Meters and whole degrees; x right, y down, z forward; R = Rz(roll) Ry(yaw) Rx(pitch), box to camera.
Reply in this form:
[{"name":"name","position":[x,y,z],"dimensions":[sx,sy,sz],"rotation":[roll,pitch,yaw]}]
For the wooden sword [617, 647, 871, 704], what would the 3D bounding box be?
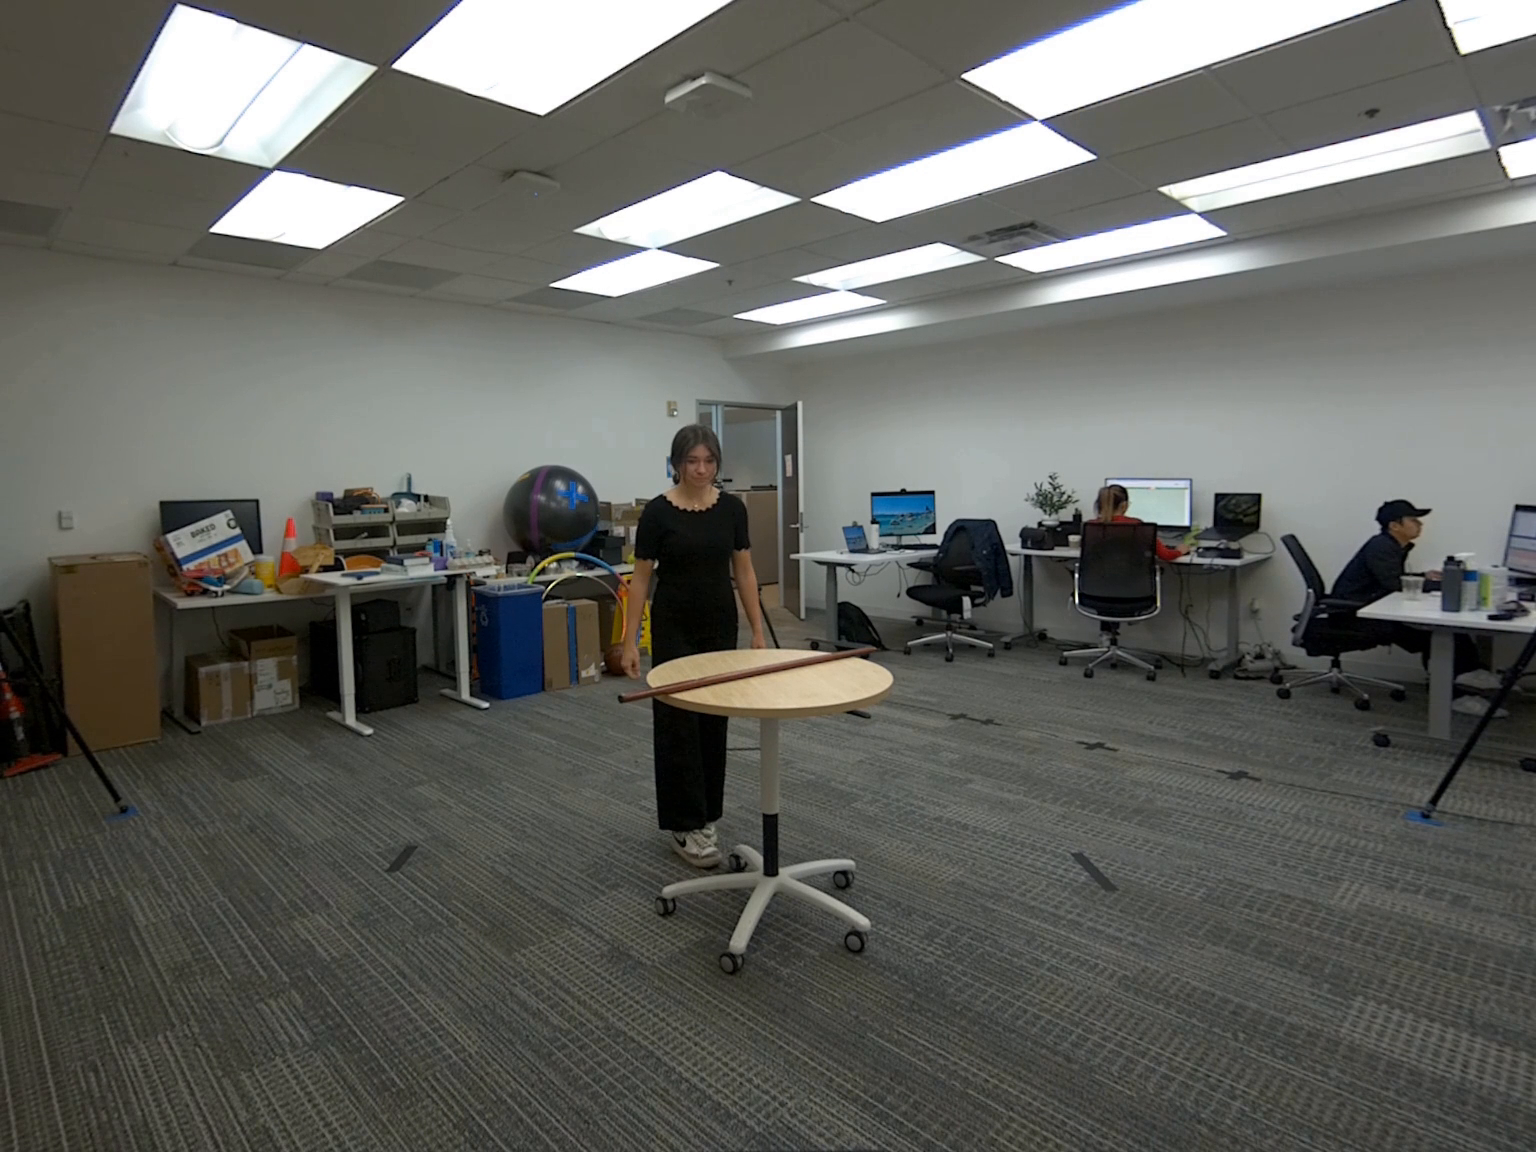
[{"name":"wooden sword","position":[-0.058,0.309,2.657],"dimensions":[0.998,0.052,0.024],"rotation":[-7,-29,-42]}]
